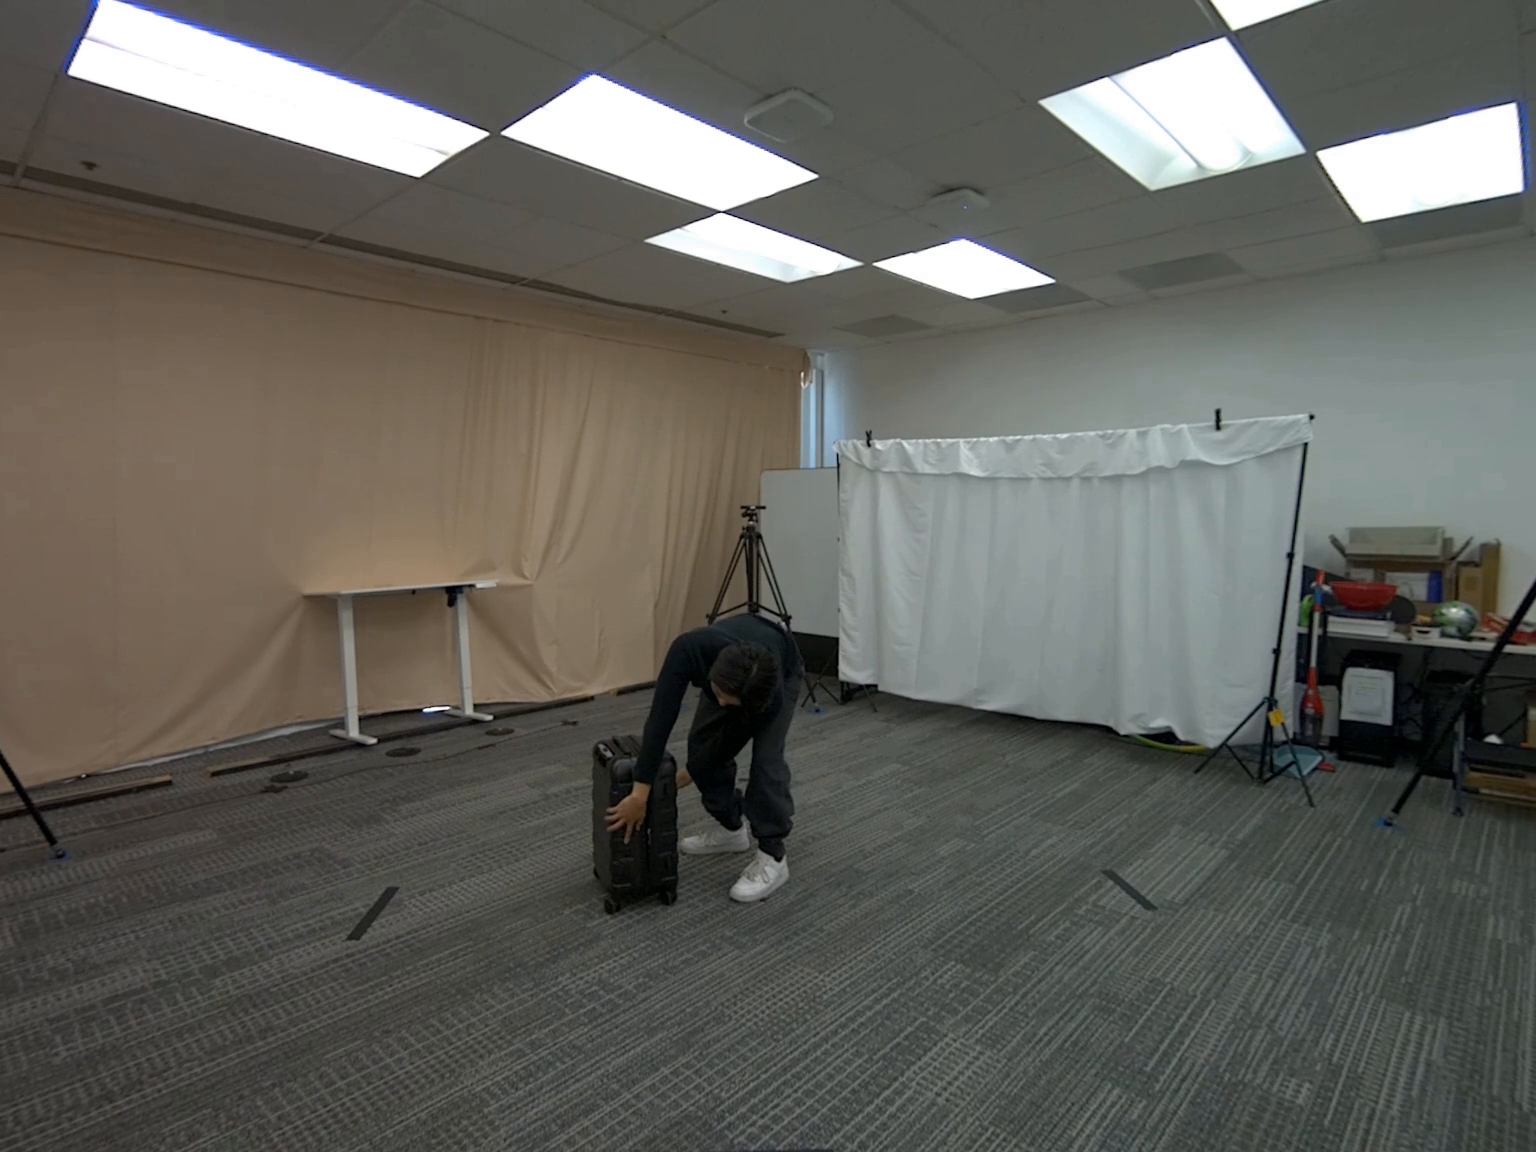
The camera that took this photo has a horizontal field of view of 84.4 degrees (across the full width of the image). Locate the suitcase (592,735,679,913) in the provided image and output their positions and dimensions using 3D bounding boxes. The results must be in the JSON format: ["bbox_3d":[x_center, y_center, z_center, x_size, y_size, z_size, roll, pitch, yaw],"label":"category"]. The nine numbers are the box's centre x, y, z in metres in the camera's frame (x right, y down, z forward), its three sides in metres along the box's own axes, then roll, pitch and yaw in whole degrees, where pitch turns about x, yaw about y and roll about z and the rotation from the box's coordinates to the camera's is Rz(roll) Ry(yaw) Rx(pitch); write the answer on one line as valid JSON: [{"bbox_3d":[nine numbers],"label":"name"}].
[{"bbox_3d":[-0.484,0.865,3.041,0.243,0.548,0.384,-1,4,-22],"label":"suitcase"}]
